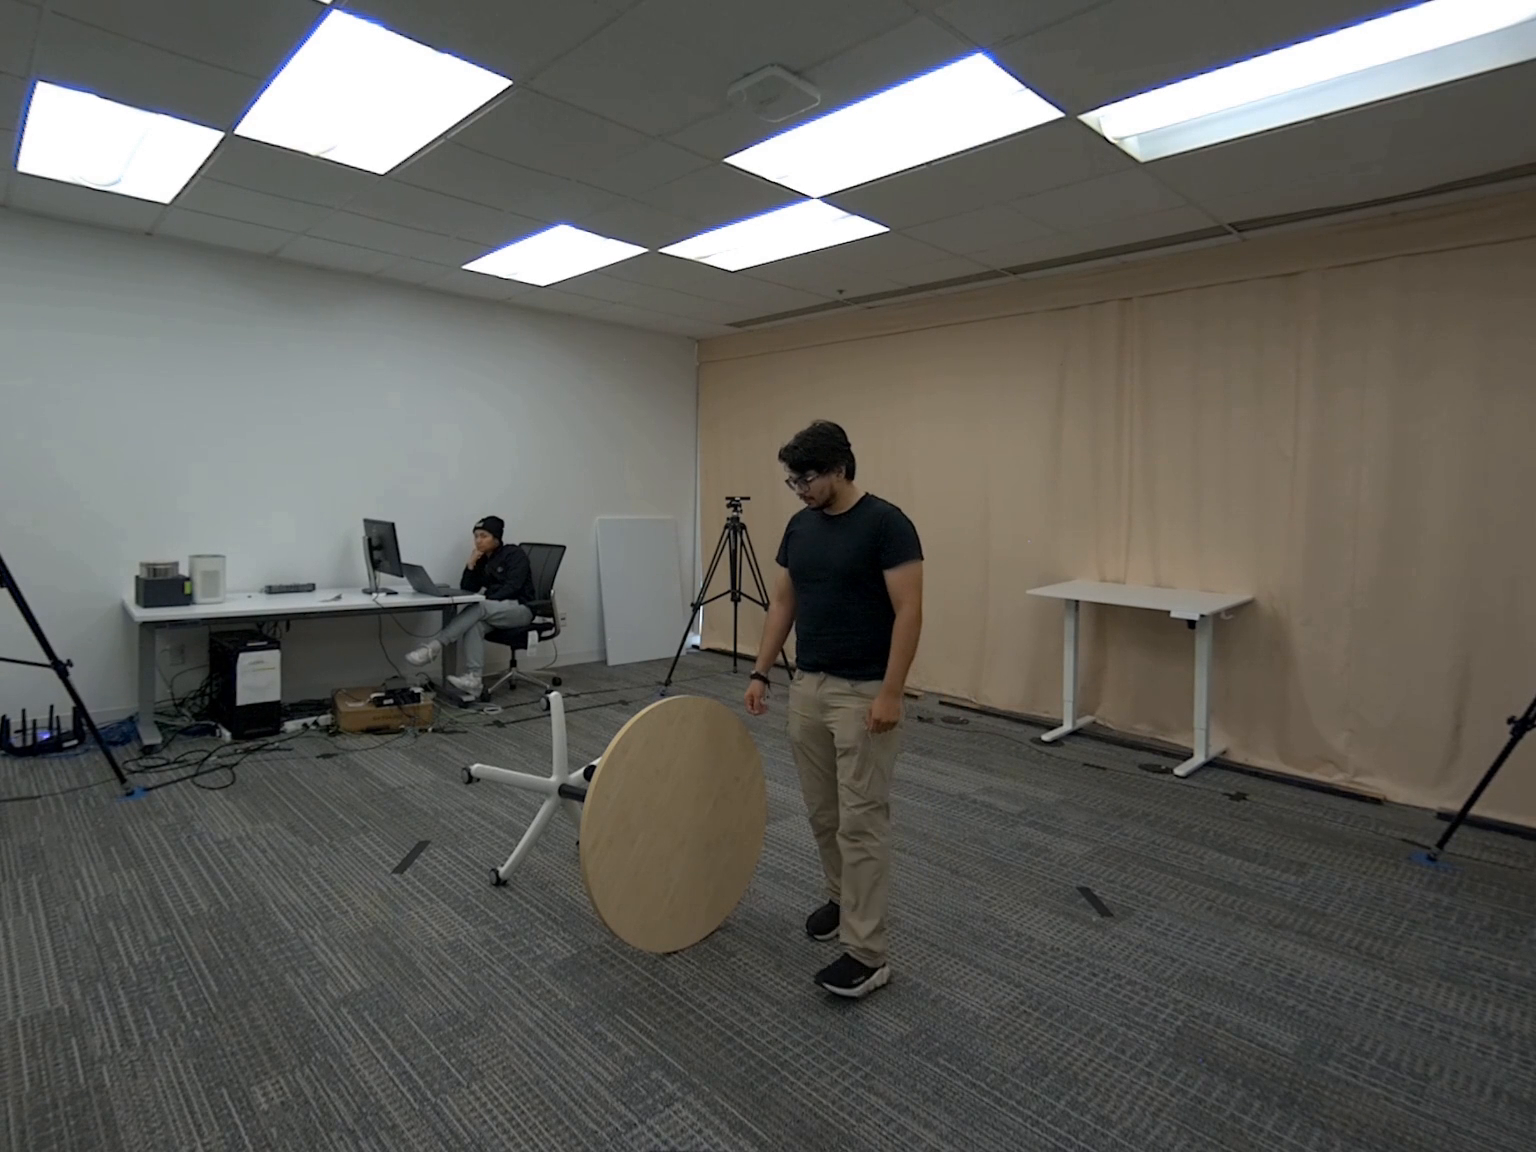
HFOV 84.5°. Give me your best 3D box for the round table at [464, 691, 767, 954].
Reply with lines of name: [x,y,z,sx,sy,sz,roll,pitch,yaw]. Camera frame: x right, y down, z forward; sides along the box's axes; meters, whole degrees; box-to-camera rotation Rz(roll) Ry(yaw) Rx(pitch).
round table: [-0.557,0.782,2.907,0.803,0.786,0.767,-5,-1,43]
